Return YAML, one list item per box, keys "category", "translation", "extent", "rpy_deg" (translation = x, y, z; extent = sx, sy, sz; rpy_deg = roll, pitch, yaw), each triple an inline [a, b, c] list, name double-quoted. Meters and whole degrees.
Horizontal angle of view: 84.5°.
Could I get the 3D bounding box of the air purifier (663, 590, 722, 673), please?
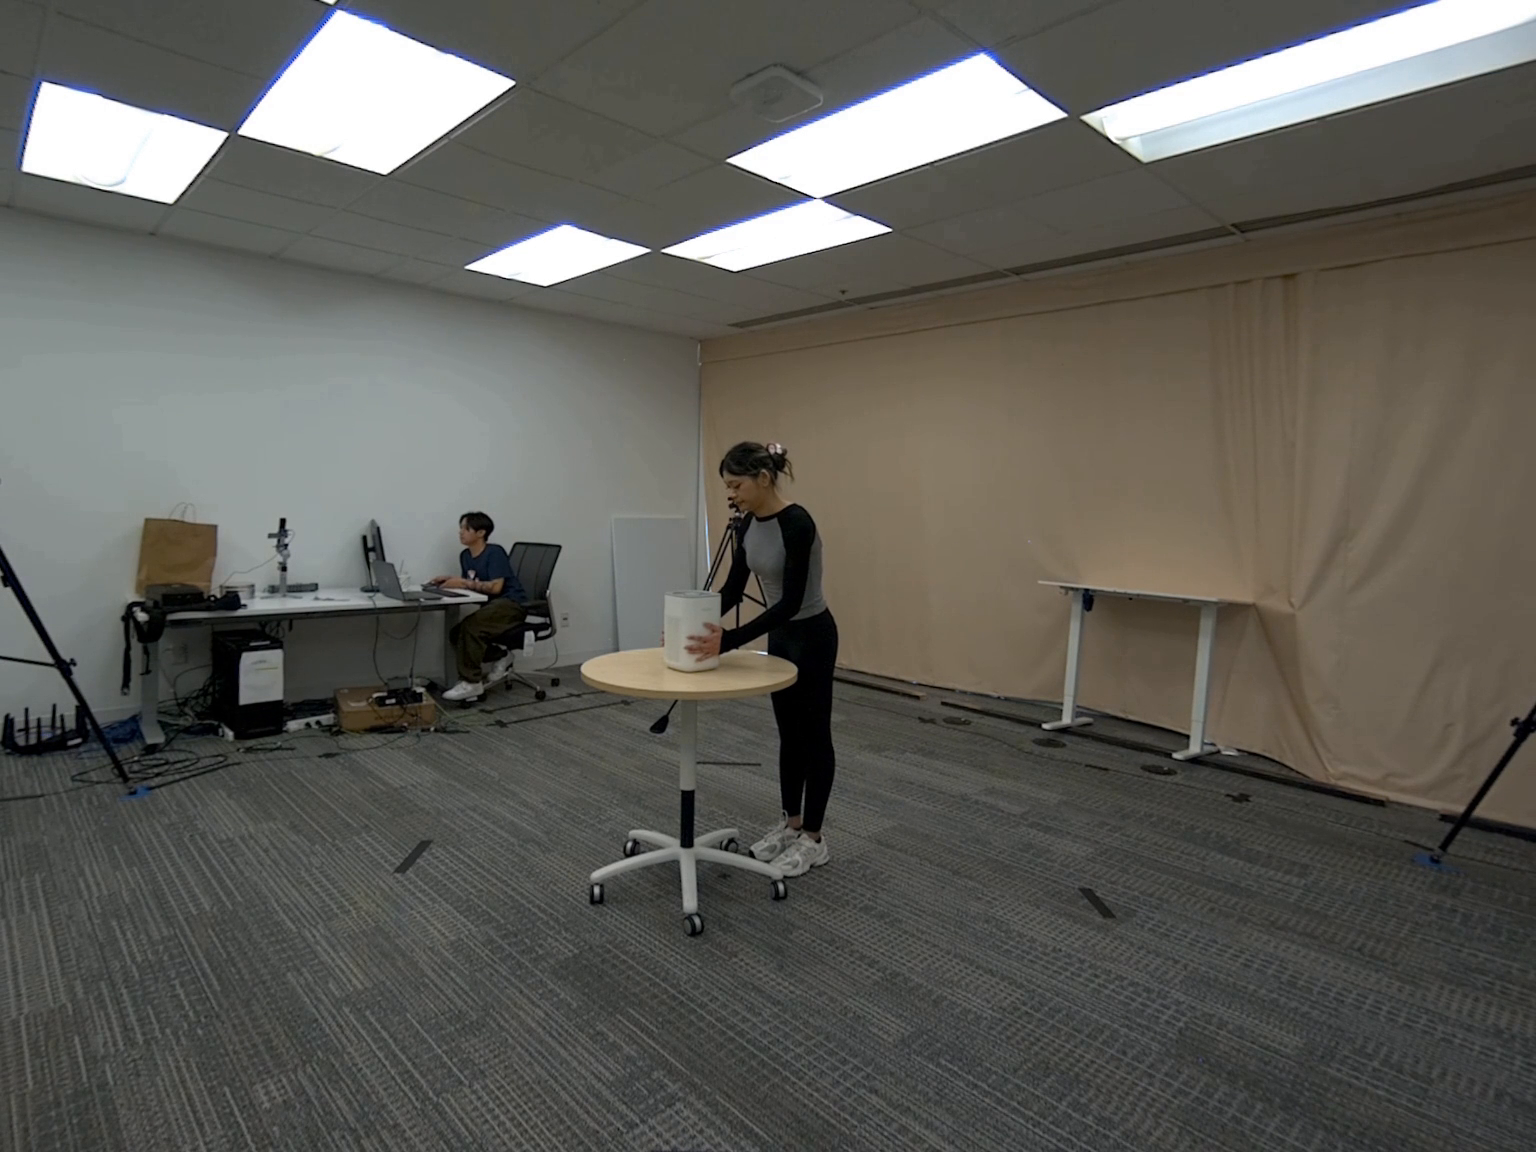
- category: "air purifier"
  translation: [-0.273, 0.193, 2.960]
  extent: [0.167, 0.265, 0.176]
  rpy_deg: [-1, 3, -40]
